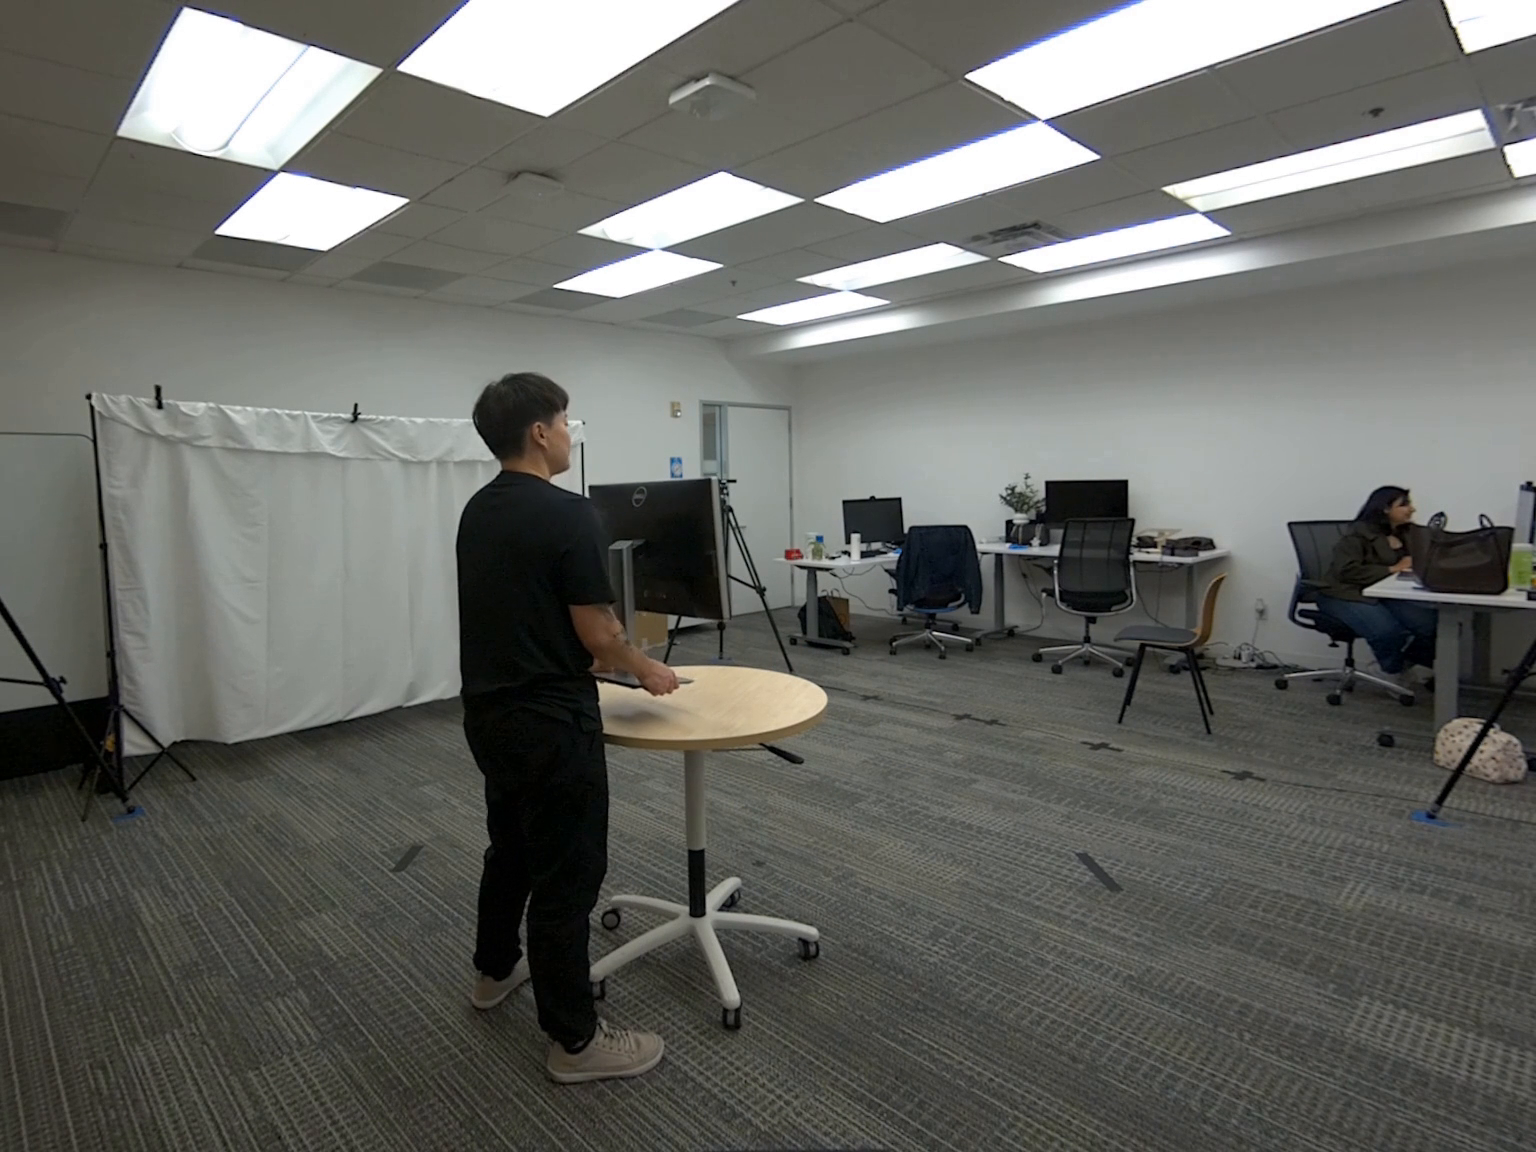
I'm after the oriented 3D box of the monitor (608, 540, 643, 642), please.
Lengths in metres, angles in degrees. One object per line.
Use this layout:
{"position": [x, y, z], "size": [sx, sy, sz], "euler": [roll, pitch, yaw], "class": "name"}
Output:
{"position": [-0.329, 0.010, 2.303], "size": [0.181, 0.524, 0.555], "euler": [7, -3, -44], "class": "monitor"}
